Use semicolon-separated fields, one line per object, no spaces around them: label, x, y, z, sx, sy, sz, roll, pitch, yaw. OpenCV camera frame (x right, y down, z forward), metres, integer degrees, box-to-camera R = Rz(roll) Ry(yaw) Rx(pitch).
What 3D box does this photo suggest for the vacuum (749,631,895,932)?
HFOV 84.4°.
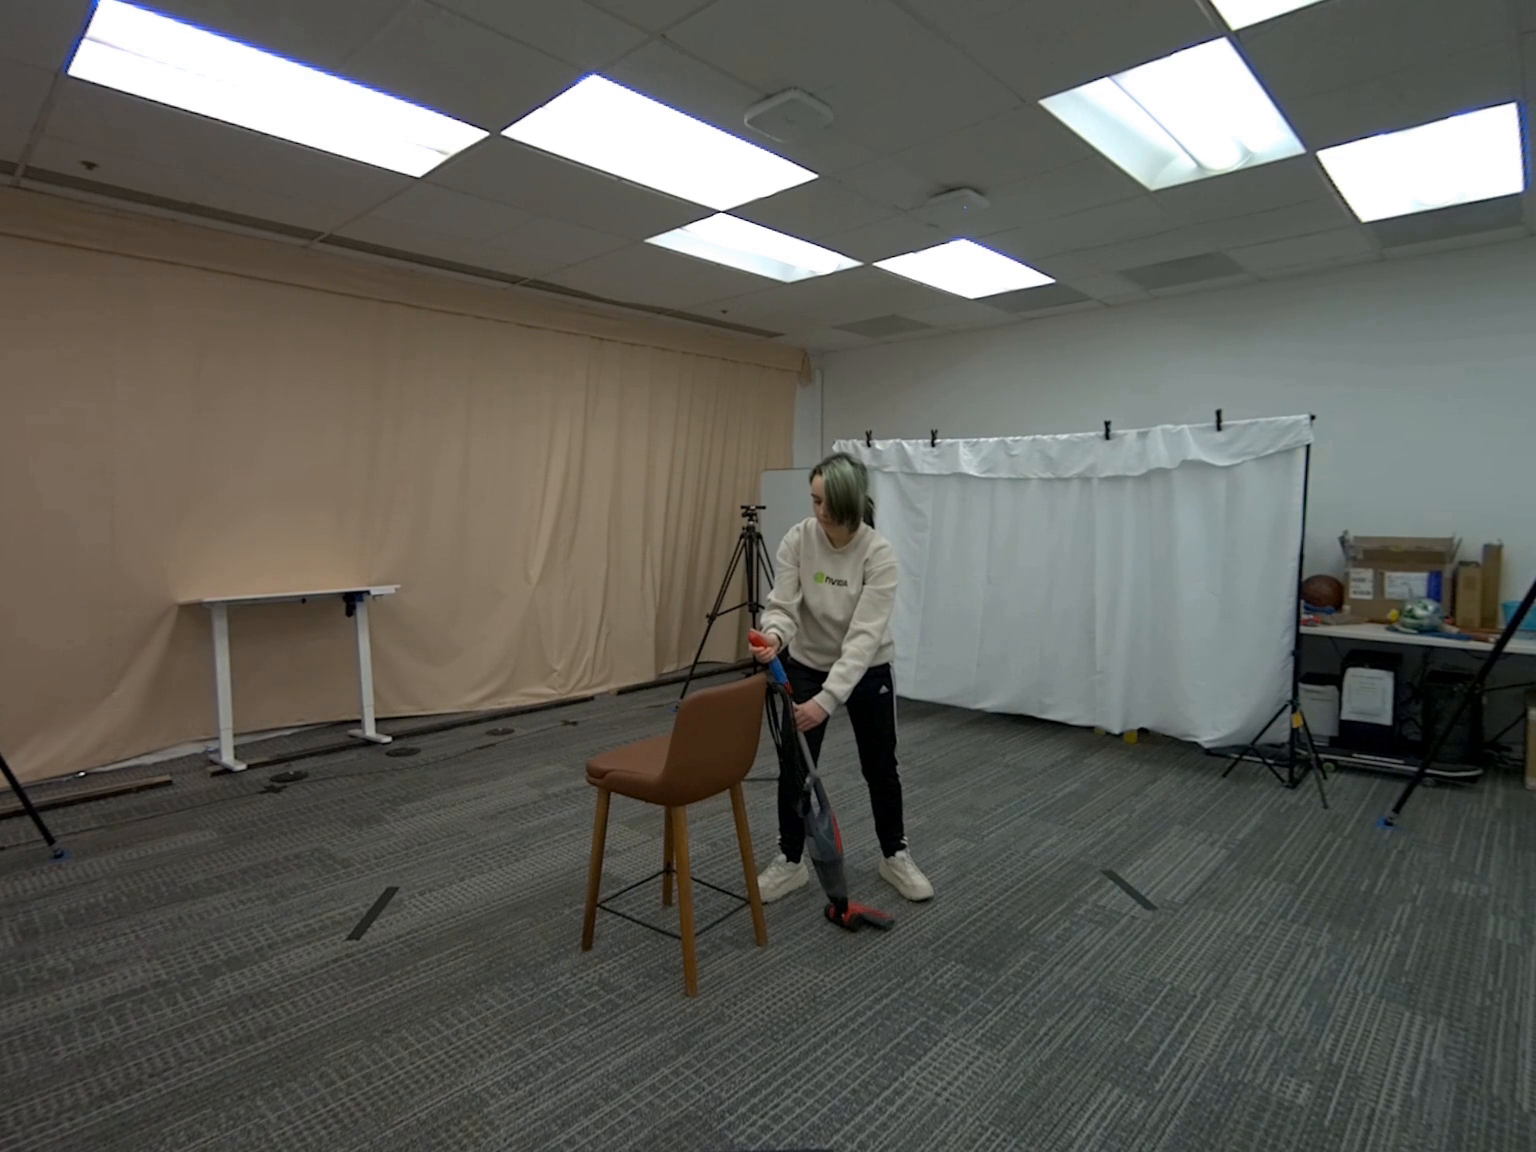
vacuum;0.136;0.676;2.710;0.260;1.038;0.141;-4;17;46
